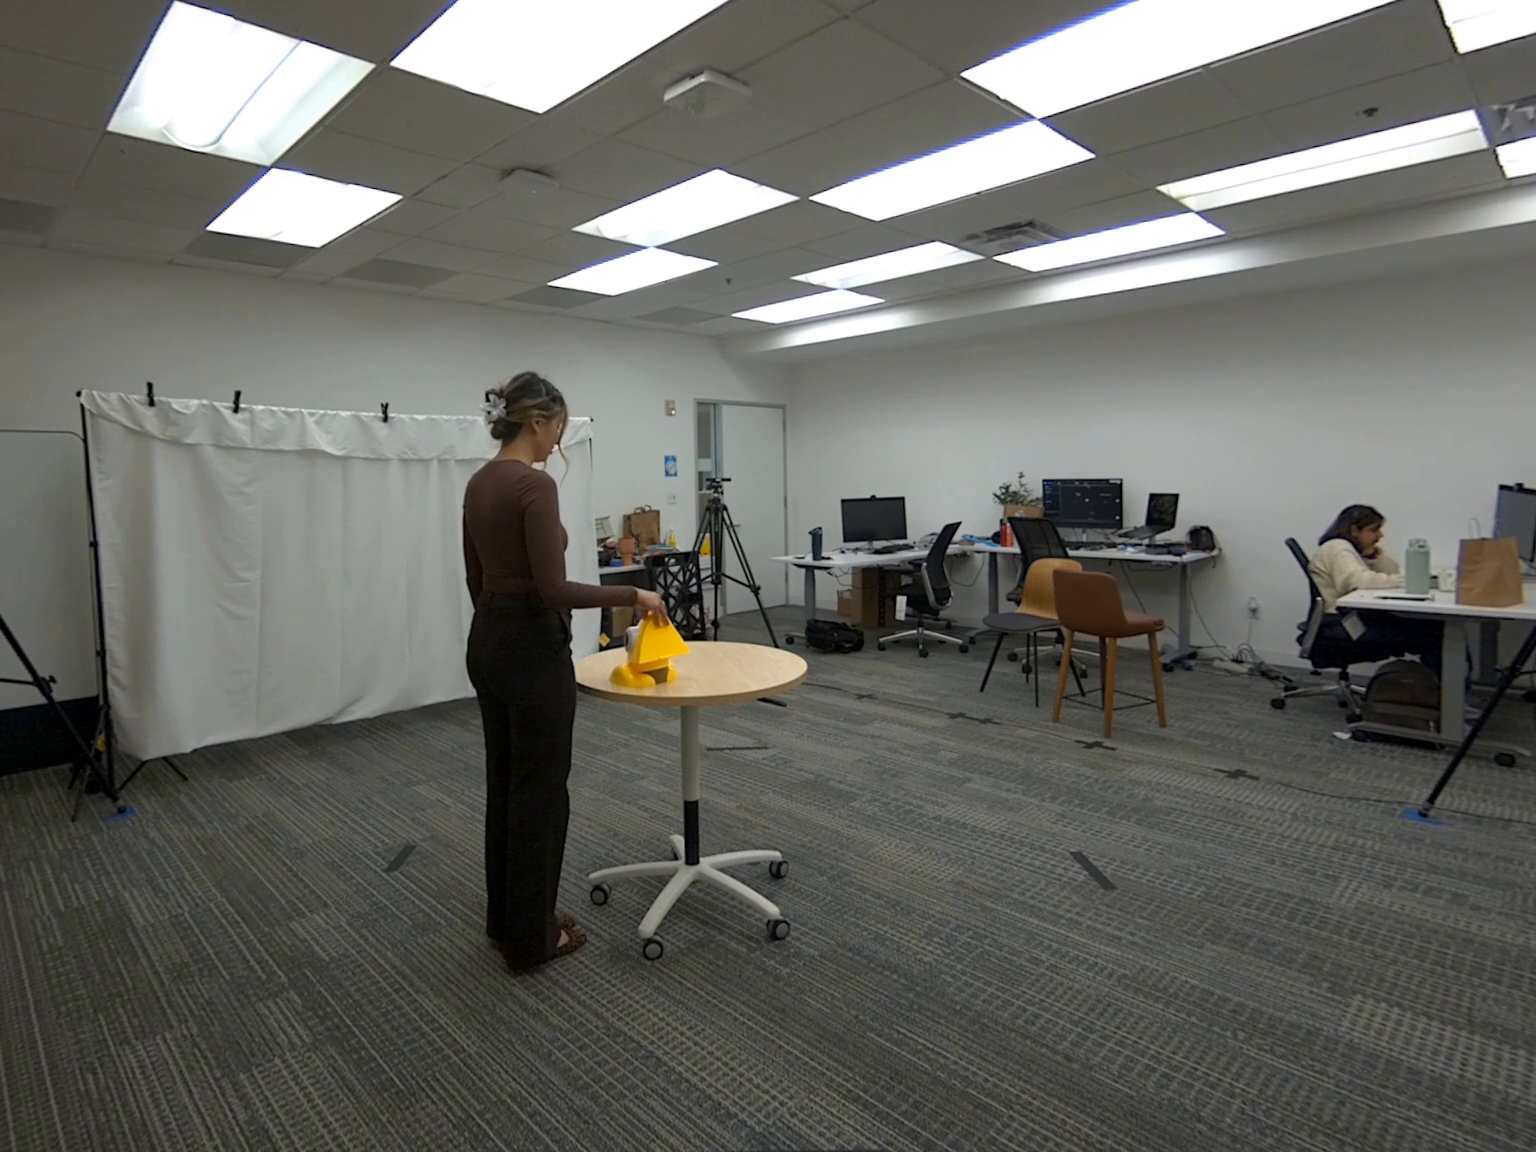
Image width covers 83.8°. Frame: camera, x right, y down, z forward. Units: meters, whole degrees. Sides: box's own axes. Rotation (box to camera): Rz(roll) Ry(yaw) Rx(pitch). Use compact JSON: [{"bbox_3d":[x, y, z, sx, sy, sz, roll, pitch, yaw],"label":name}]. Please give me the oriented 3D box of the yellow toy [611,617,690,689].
[{"bbox_3d":[-0.367,0.201,2.572,0.199,0.230,0.199,3,7,41],"label":"yellow toy"}]
